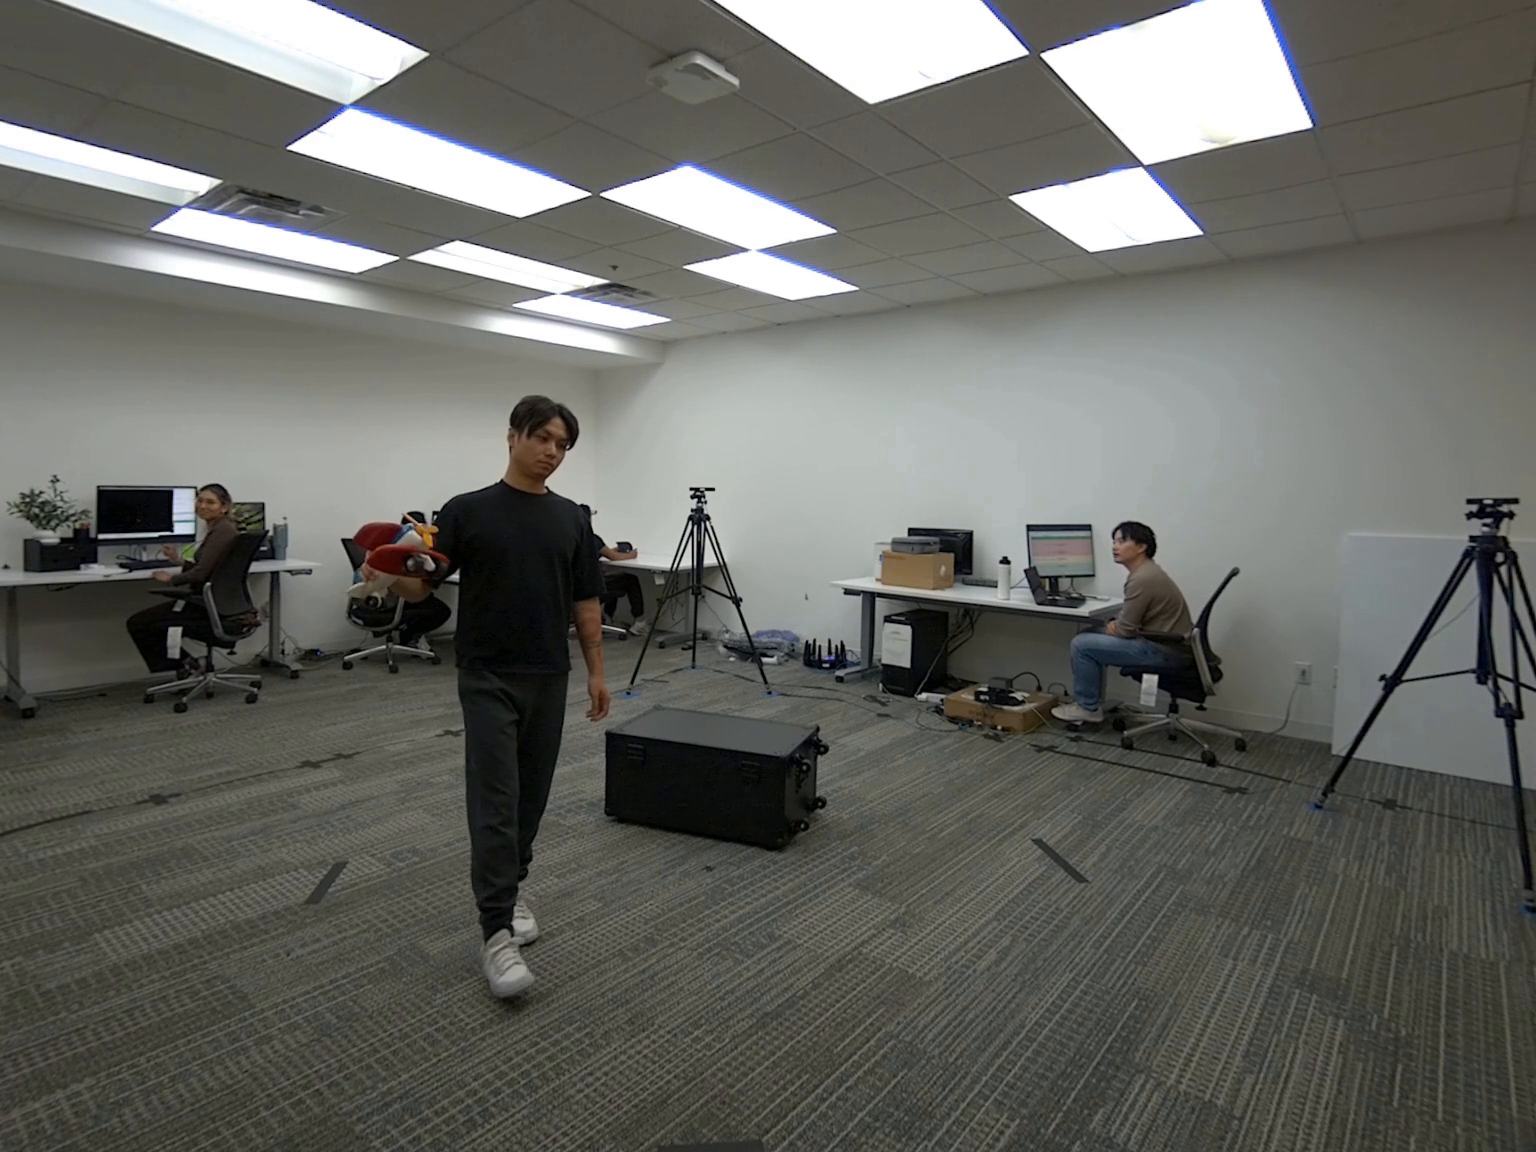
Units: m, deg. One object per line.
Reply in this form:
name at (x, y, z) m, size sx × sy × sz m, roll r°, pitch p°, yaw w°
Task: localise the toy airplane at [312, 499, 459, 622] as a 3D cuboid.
toy airplane at (-0.979, -0.036, 2.167) m, size 0.257 × 0.160 × 0.247 m, roll -21°, pitch -18°, yaw -12°
